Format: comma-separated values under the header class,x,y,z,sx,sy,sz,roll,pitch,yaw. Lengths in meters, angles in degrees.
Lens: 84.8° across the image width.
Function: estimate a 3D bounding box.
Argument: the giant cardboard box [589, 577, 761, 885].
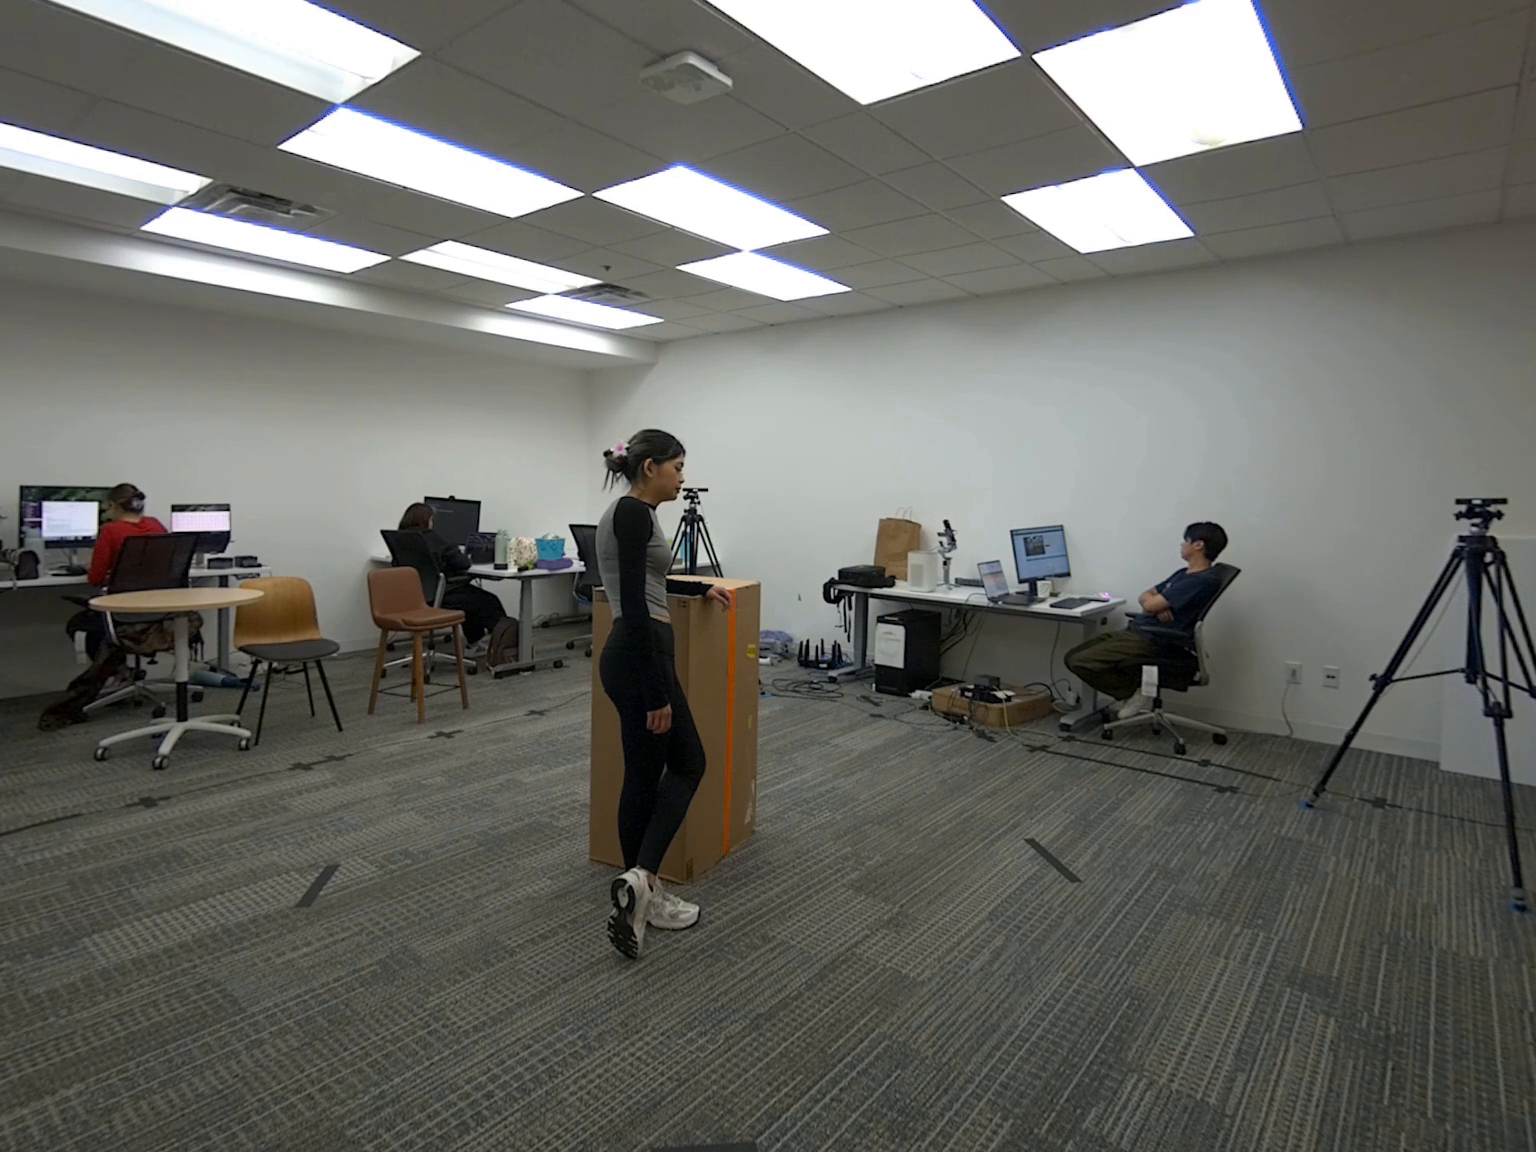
class,x,y,z,sx,sy,sz,roll,pitch,yaw
giant cardboard box,-0.356,0.539,3.302,0.438,1.023,0.564,3,4,27
